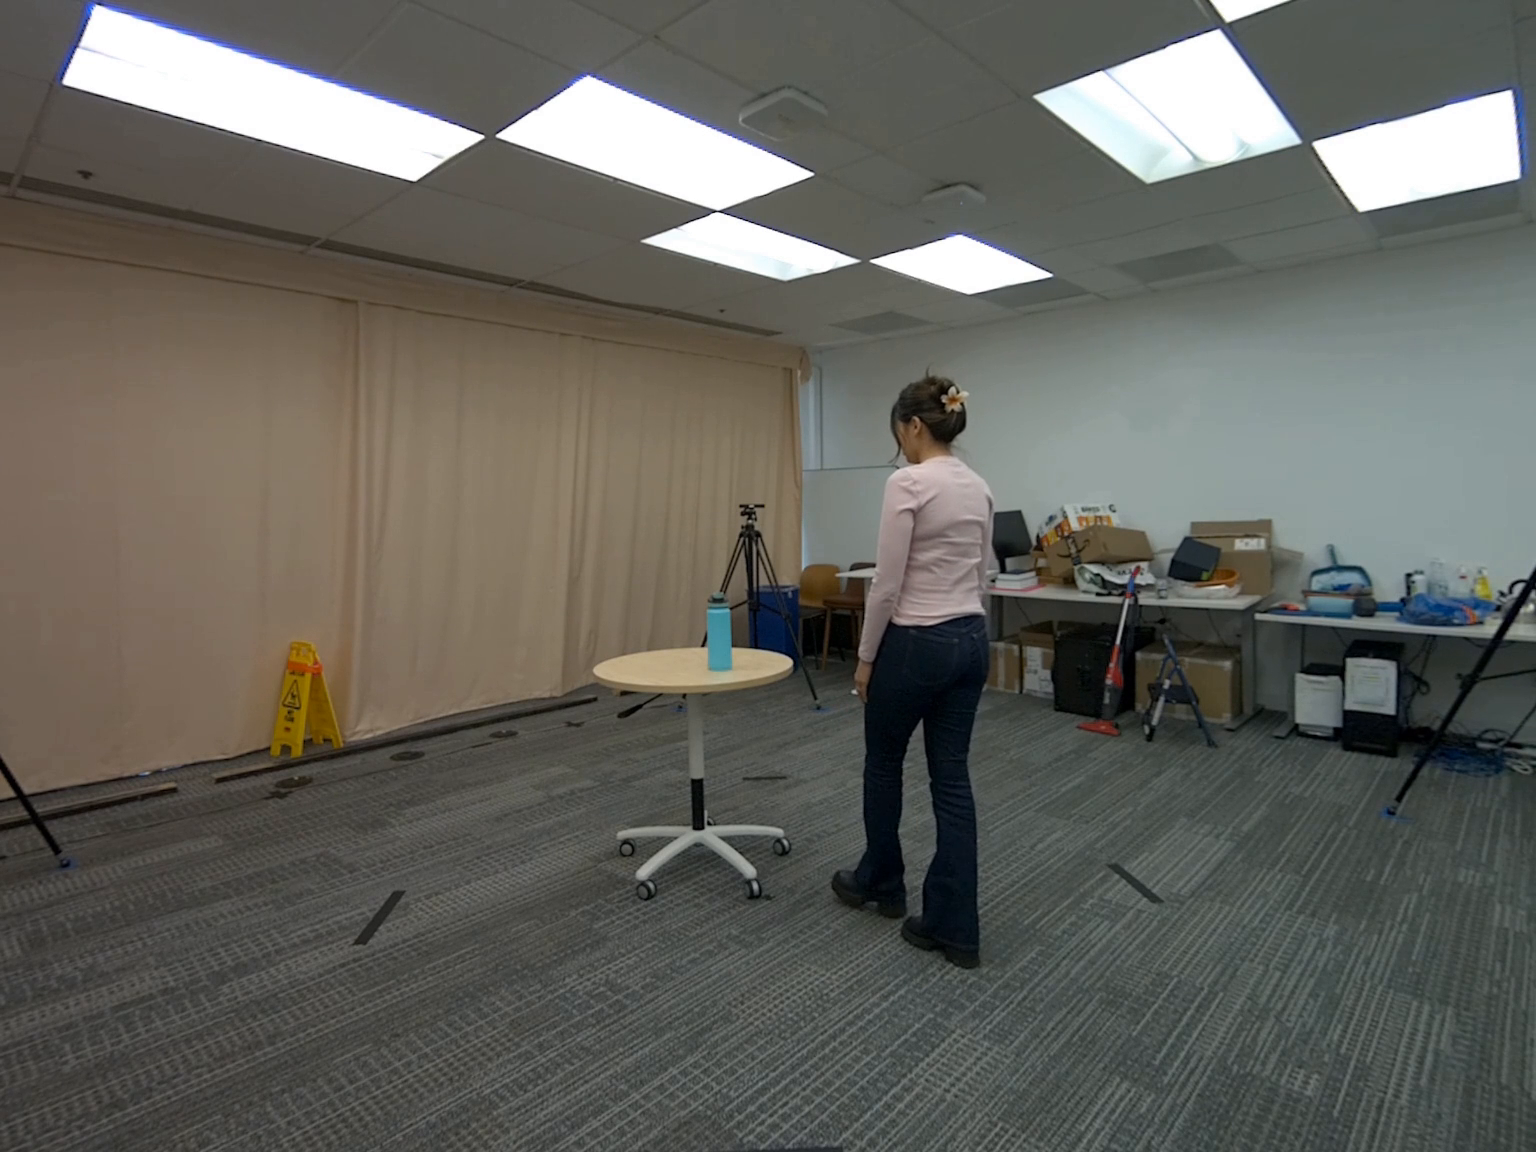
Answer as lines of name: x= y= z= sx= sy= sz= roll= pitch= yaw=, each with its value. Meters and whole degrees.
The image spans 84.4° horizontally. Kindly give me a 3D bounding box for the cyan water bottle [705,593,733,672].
cyan water bottle: x=-0.184 y=0.206 z=3.131 sx=0.092 sy=0.283 sz=0.092 roll=-3 pitch=2 yaw=-2
